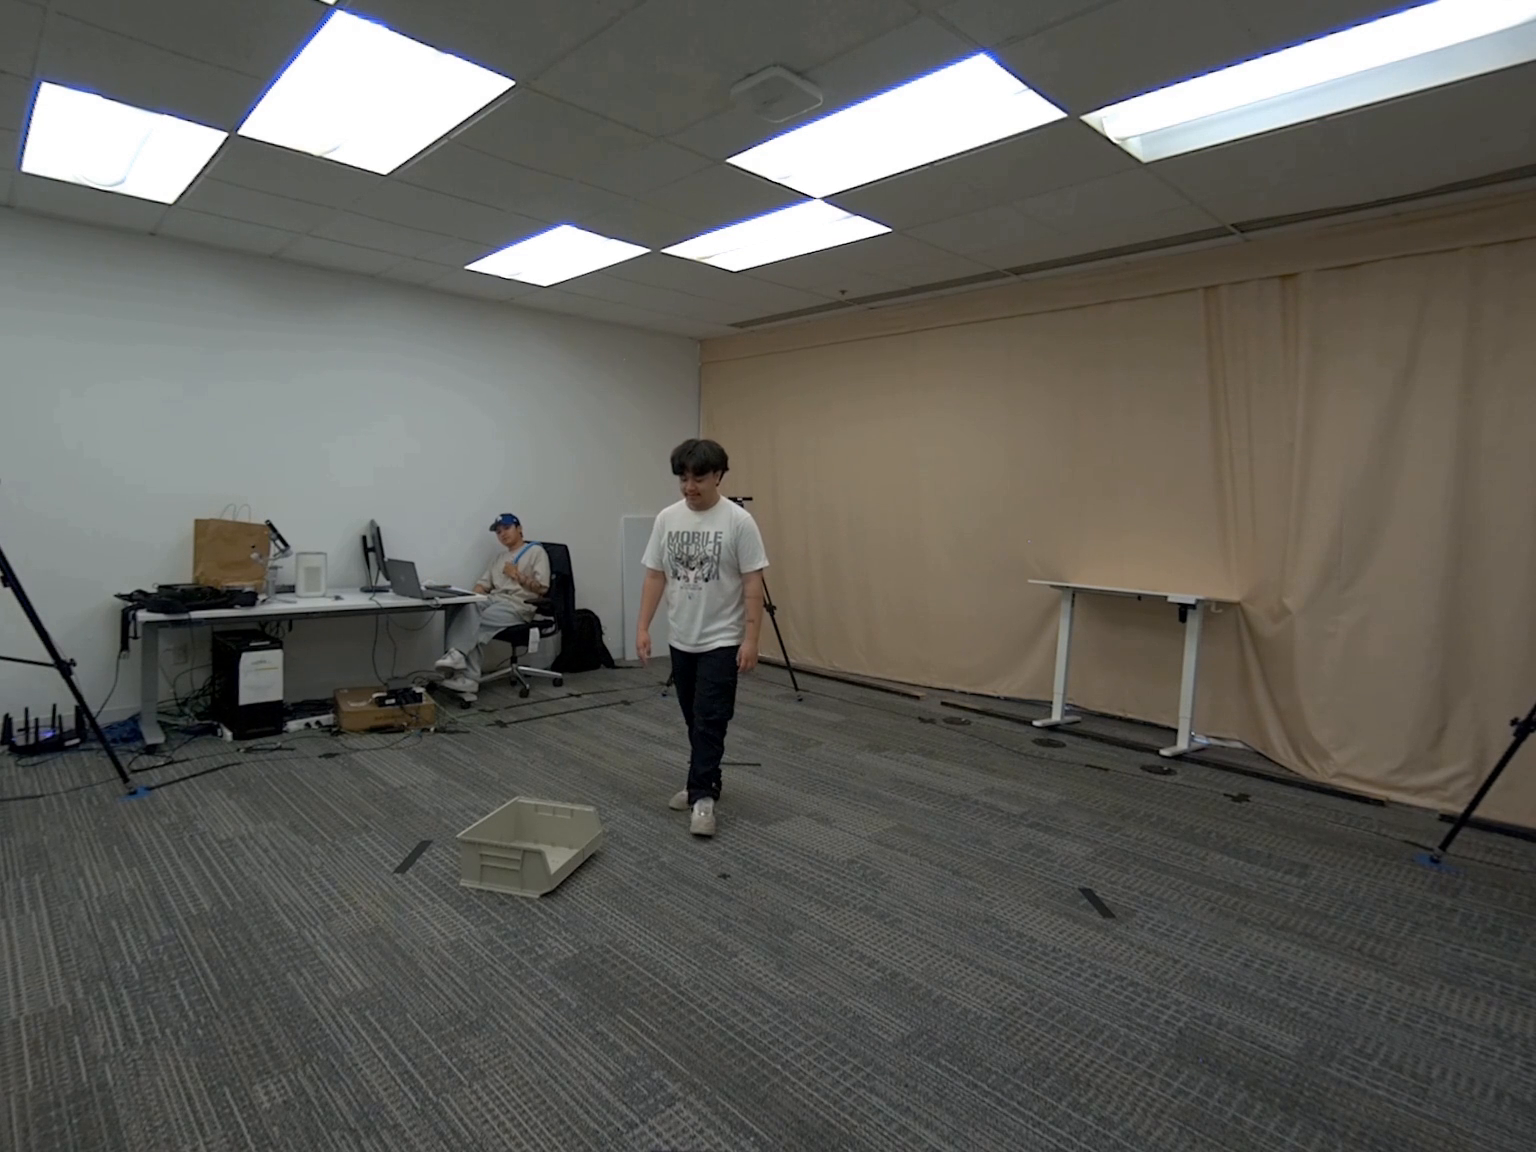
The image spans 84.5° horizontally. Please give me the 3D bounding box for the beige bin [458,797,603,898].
[{"bbox_3d":[-0.883,1.002,3.126,0.382,0.188,0.419,2,5,14],"label":"beige bin"}]
